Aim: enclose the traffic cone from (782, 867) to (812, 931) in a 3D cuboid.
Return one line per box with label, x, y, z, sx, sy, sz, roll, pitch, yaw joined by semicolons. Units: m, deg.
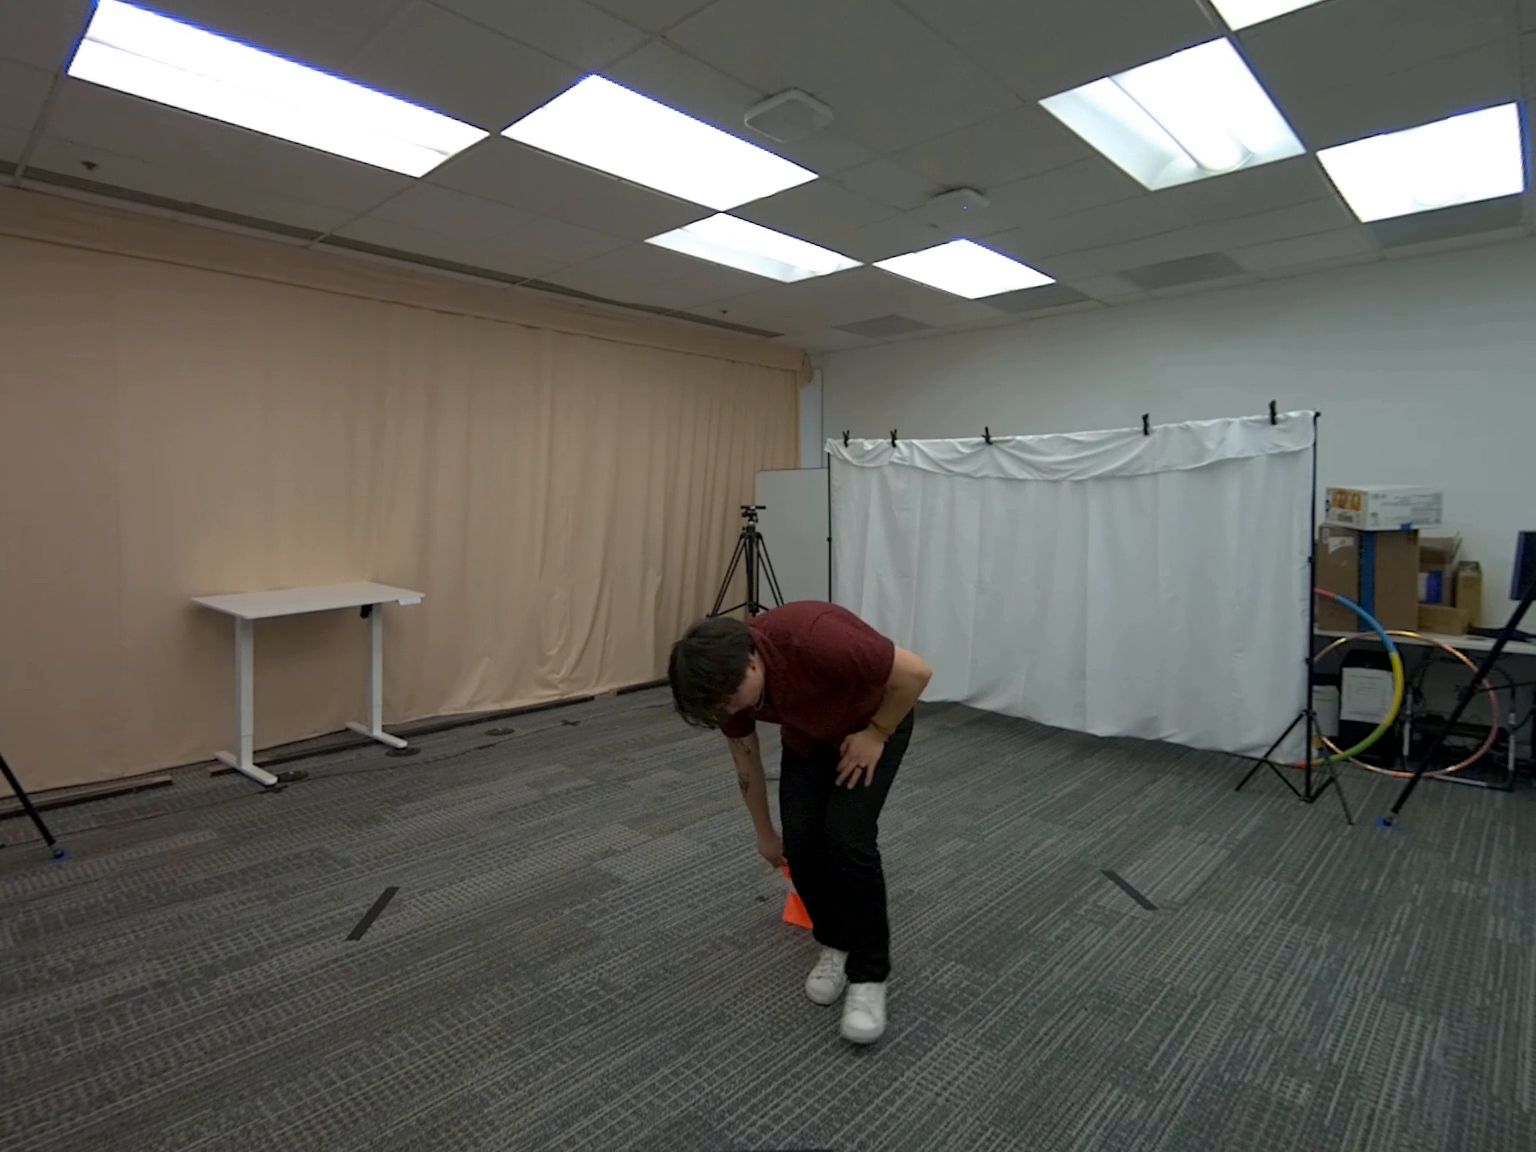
traffic cone;0.111;0.971;2.677;0.211;0.203;0.371;11;-33;31
